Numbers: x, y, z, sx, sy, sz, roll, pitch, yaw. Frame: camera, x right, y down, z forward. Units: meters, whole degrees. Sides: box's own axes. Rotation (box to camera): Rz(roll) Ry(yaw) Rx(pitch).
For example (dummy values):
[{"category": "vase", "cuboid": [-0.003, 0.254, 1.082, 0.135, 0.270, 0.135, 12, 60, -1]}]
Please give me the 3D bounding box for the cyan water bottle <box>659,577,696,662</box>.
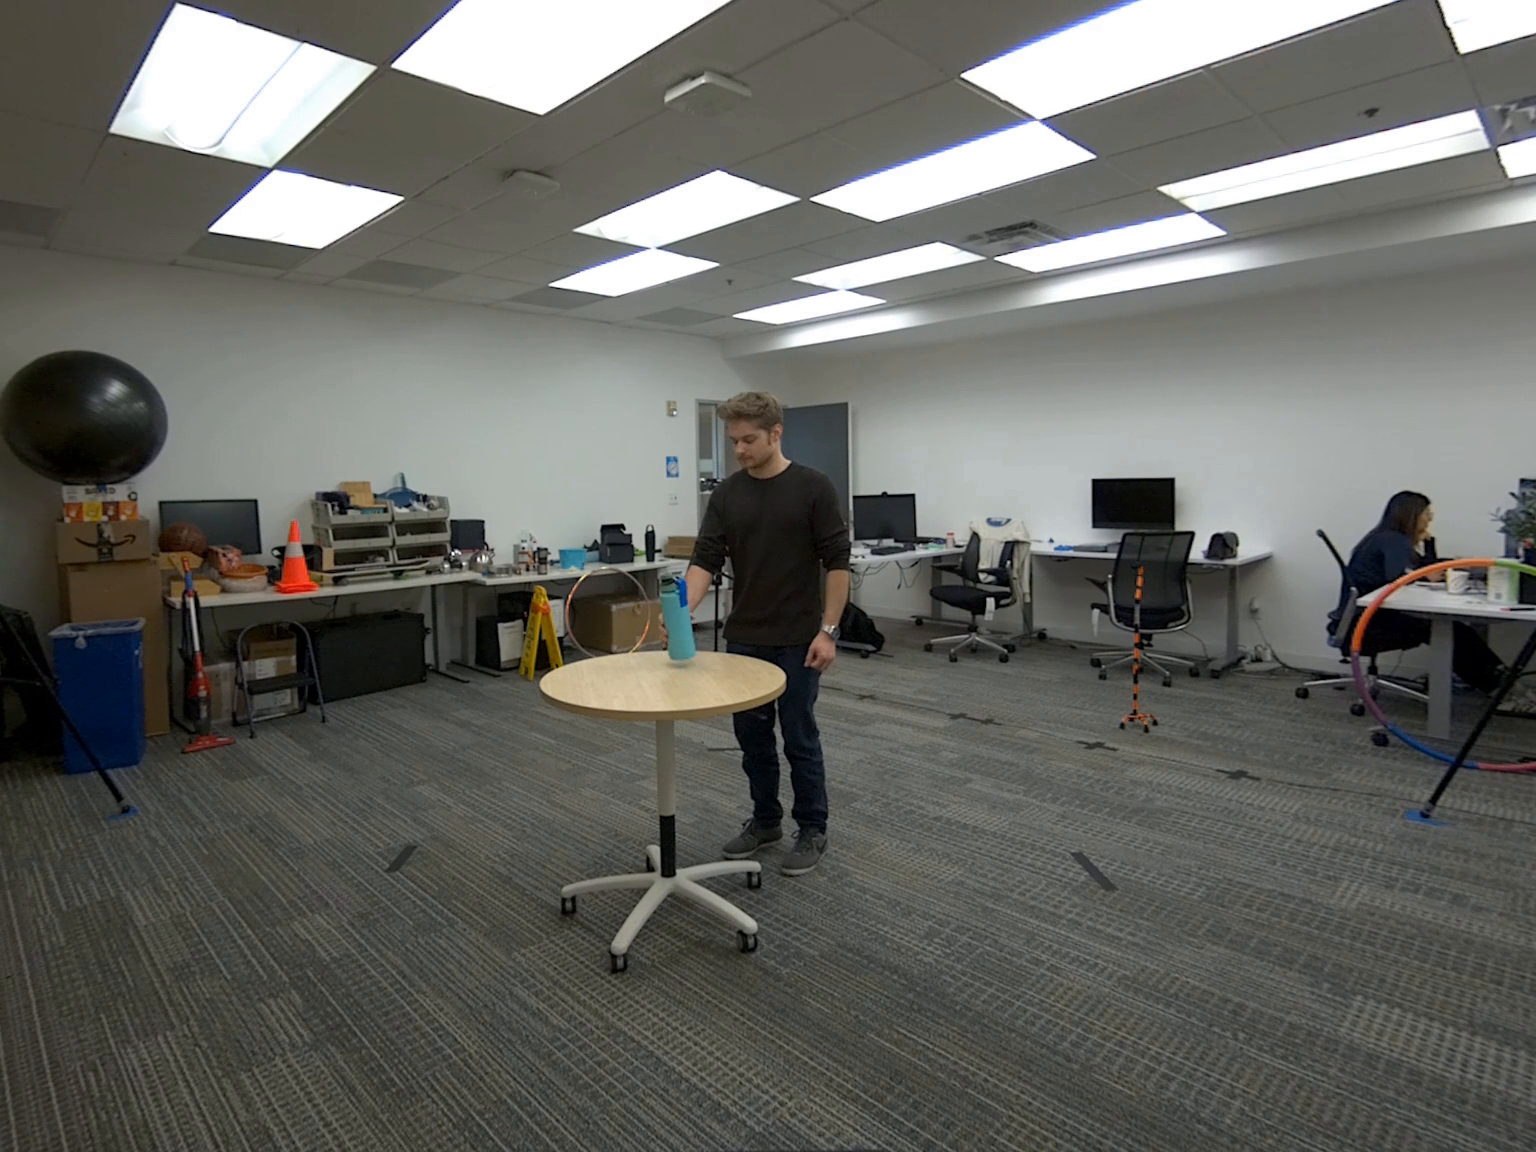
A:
[{"category": "cyan water bottle", "cuboid": [-0.303, 0.125, 2.798, 0.092, 0.280, 0.093, -8, 11, 0]}]
